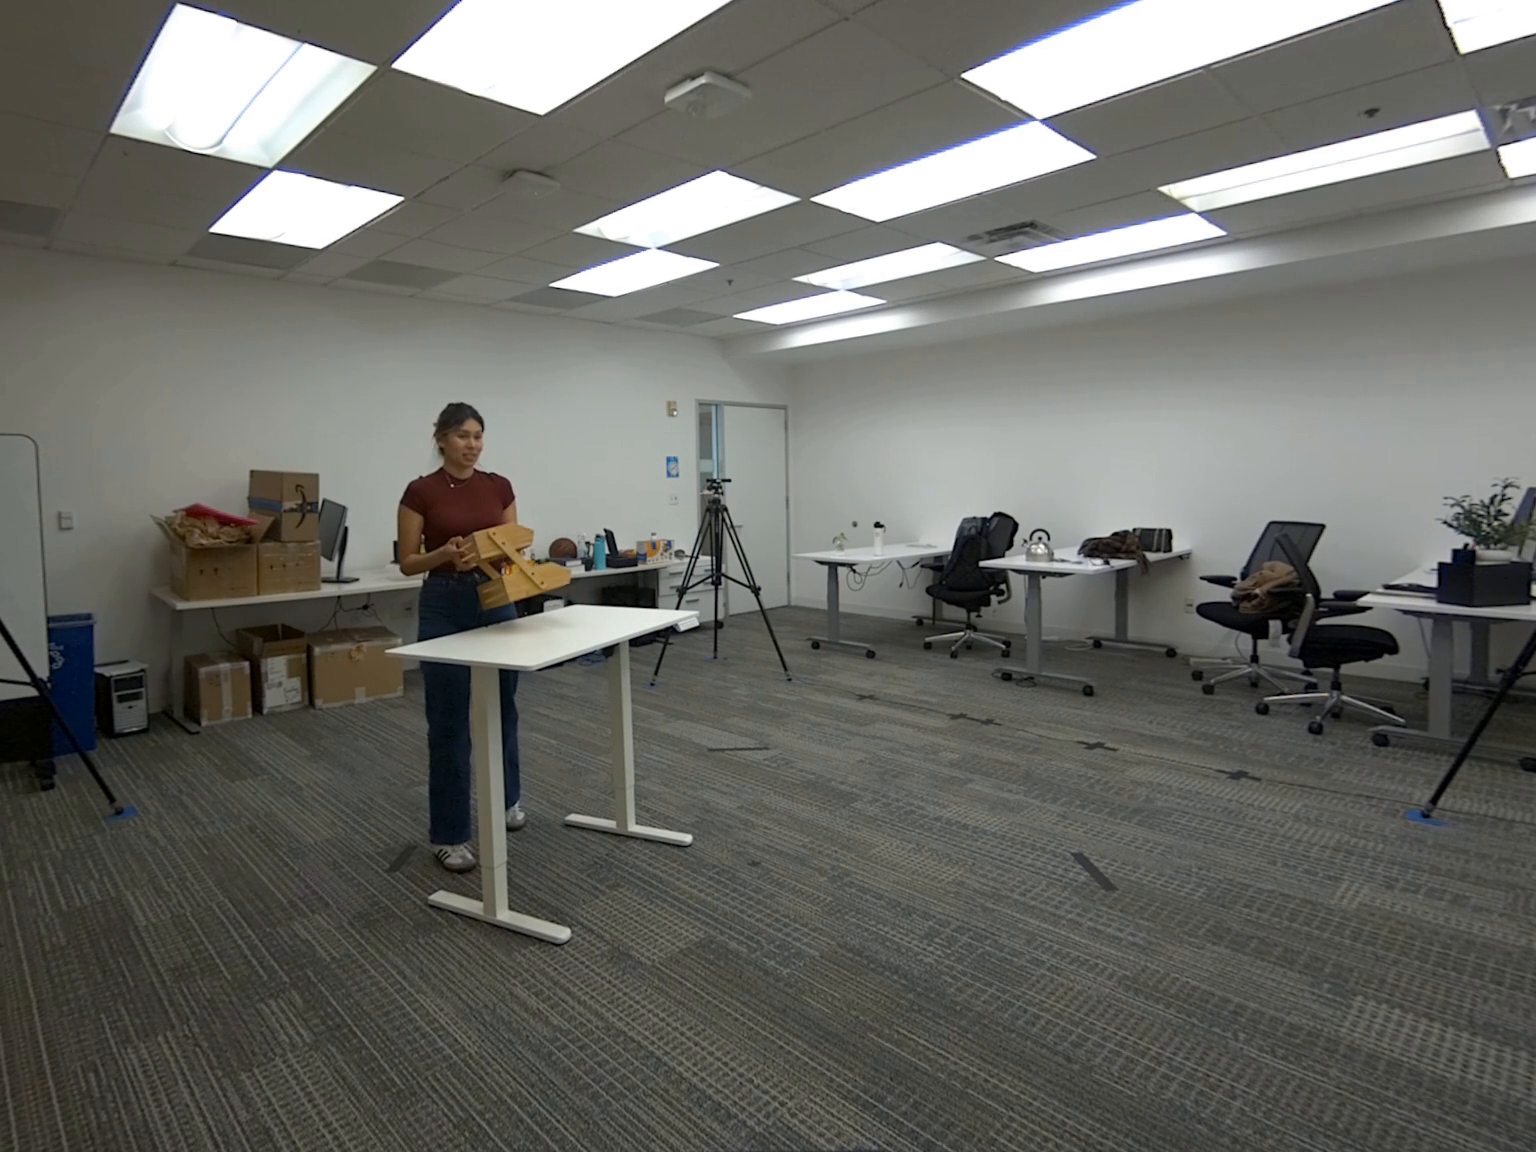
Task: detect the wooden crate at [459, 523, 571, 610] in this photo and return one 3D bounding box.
[{"bbox_3d":[-0.931,-0.047,3.095,0.296,0.273,0.330,-19,2,-35],"label":"wooden crate"}]
